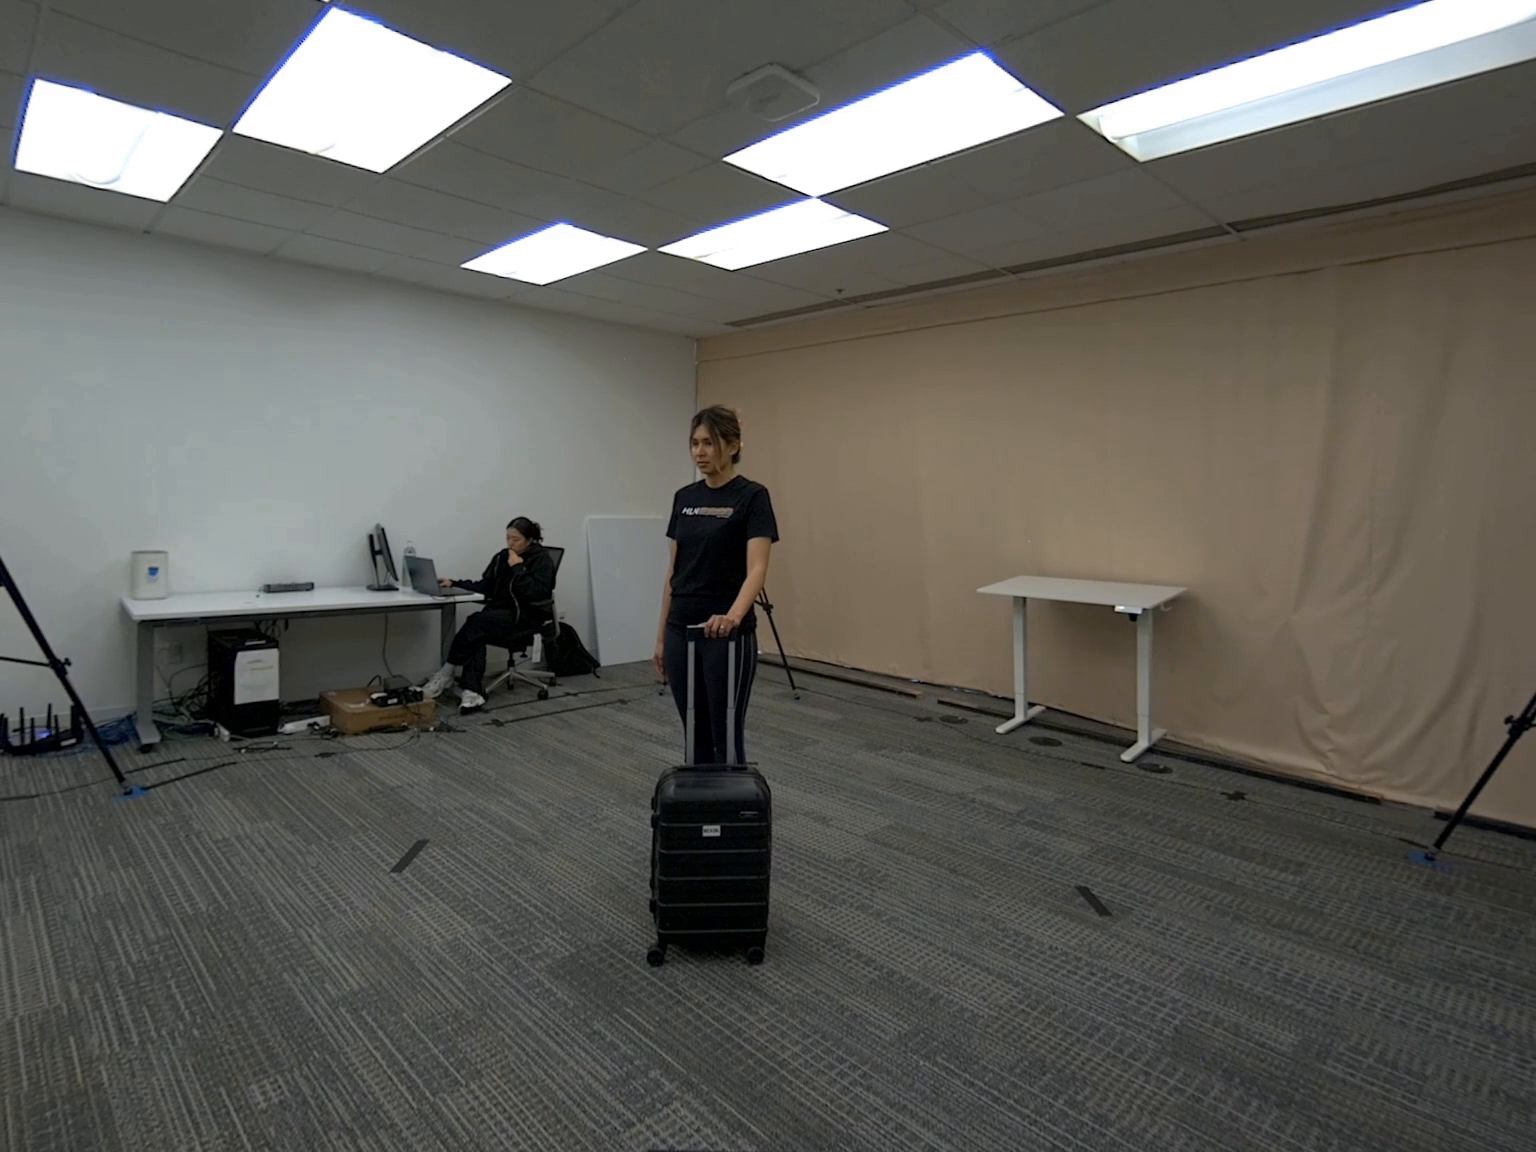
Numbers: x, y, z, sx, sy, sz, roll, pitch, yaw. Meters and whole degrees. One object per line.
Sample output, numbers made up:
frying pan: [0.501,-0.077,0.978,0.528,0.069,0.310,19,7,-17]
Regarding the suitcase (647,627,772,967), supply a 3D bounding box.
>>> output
suitcase: [-0.178,0.676,2.588,0.383,0.974,0.259,1,7,-4]
